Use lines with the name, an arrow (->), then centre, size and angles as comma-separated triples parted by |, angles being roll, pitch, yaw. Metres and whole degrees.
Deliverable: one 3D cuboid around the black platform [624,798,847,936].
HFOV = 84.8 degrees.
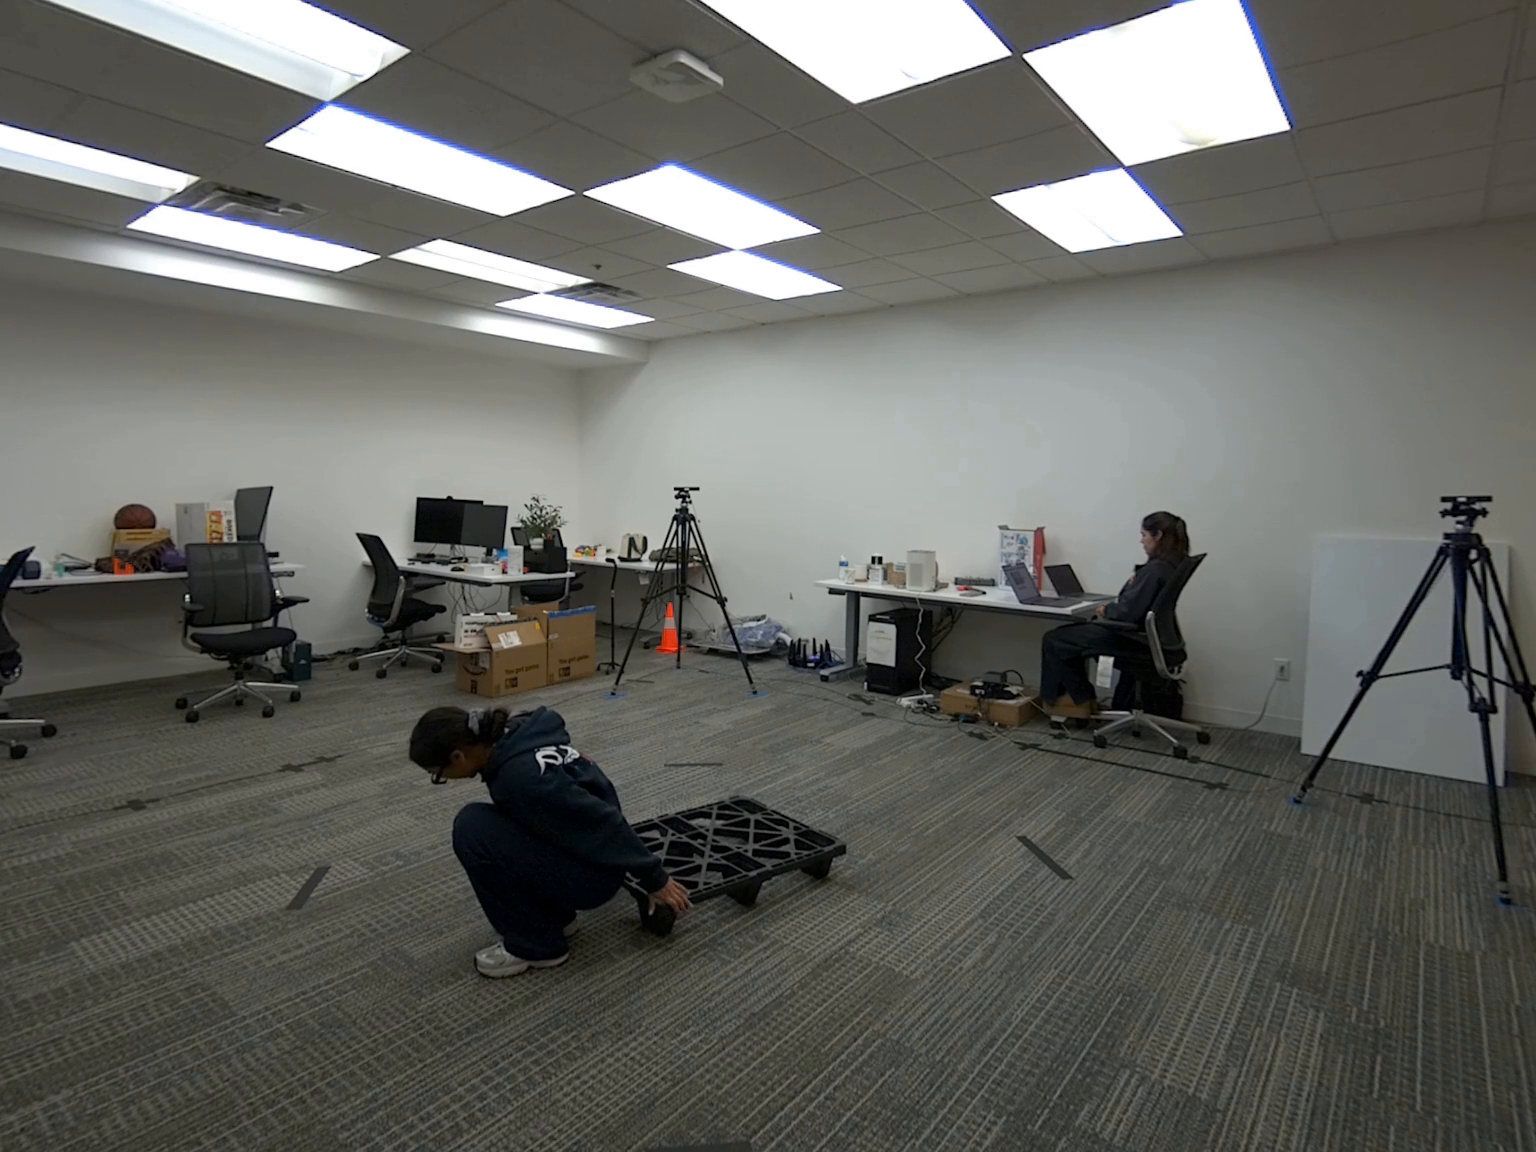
black platform -> -0.212, 1.007, 3.032 | 0.782, 0.143, 0.626 | -4, 8, -38
